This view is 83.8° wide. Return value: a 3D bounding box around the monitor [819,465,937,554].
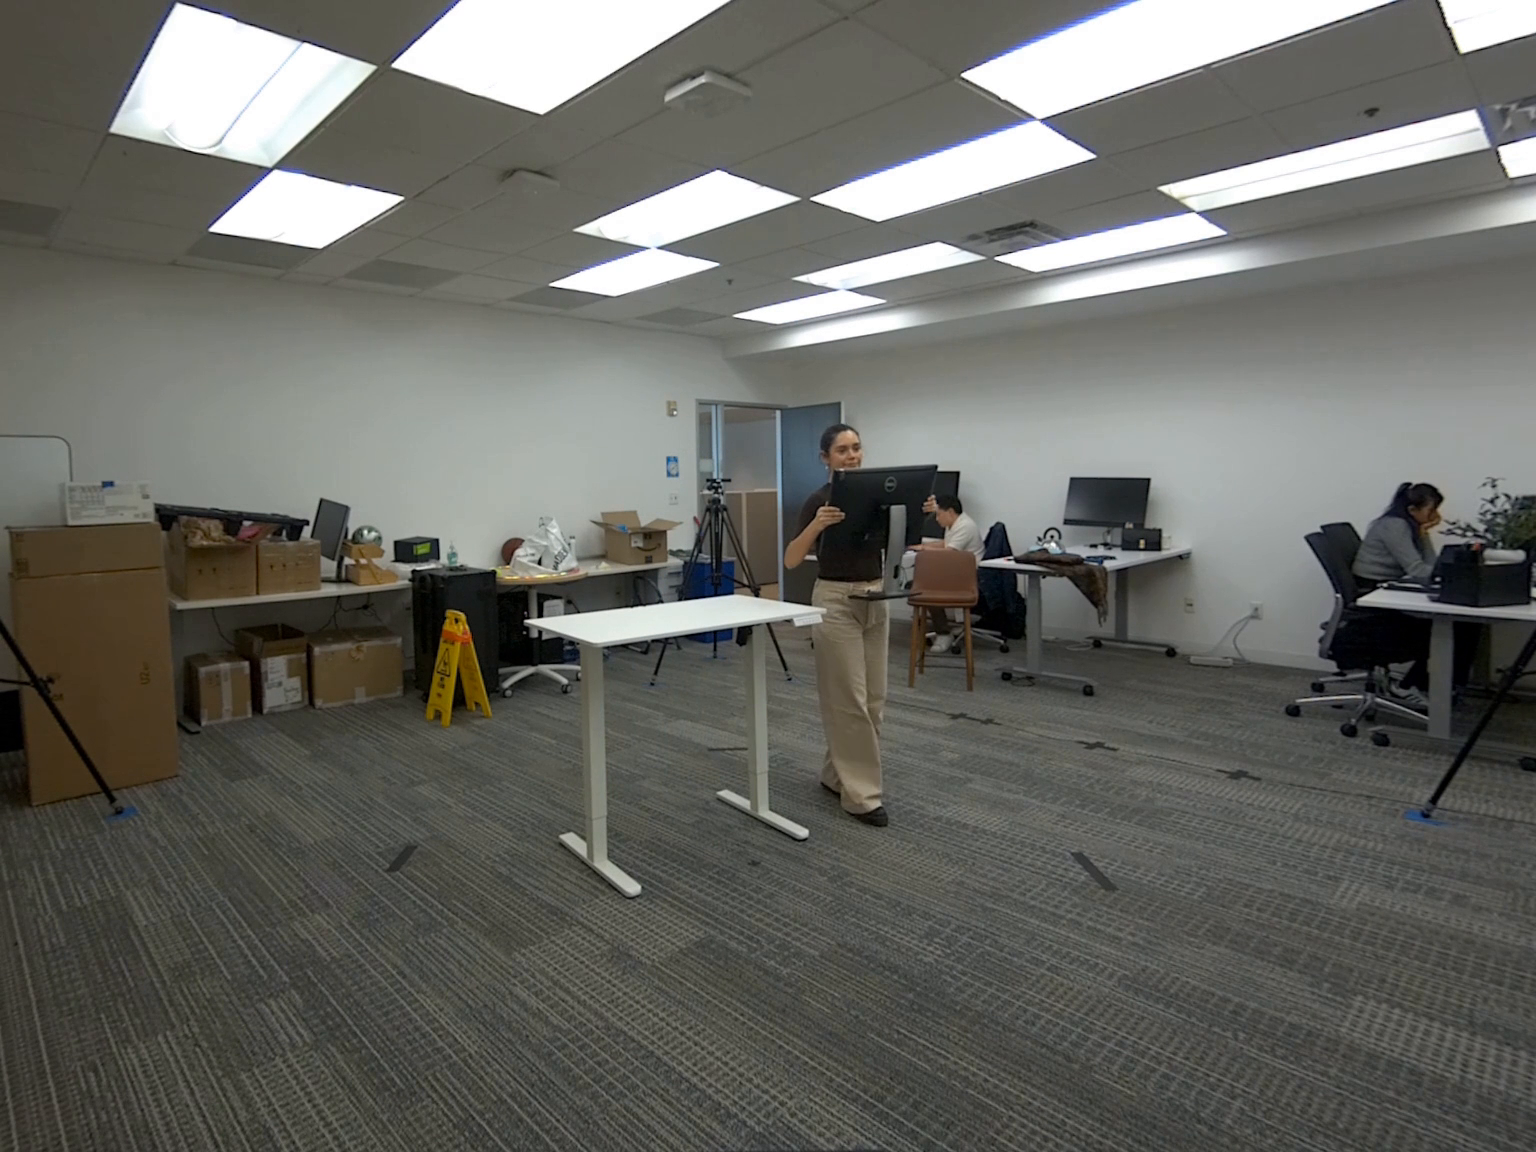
[{"bbox_3d":[0.466,-0.174,3.391,0.526,0.519,0.193,-7,10,-35],"label":"monitor"}]
